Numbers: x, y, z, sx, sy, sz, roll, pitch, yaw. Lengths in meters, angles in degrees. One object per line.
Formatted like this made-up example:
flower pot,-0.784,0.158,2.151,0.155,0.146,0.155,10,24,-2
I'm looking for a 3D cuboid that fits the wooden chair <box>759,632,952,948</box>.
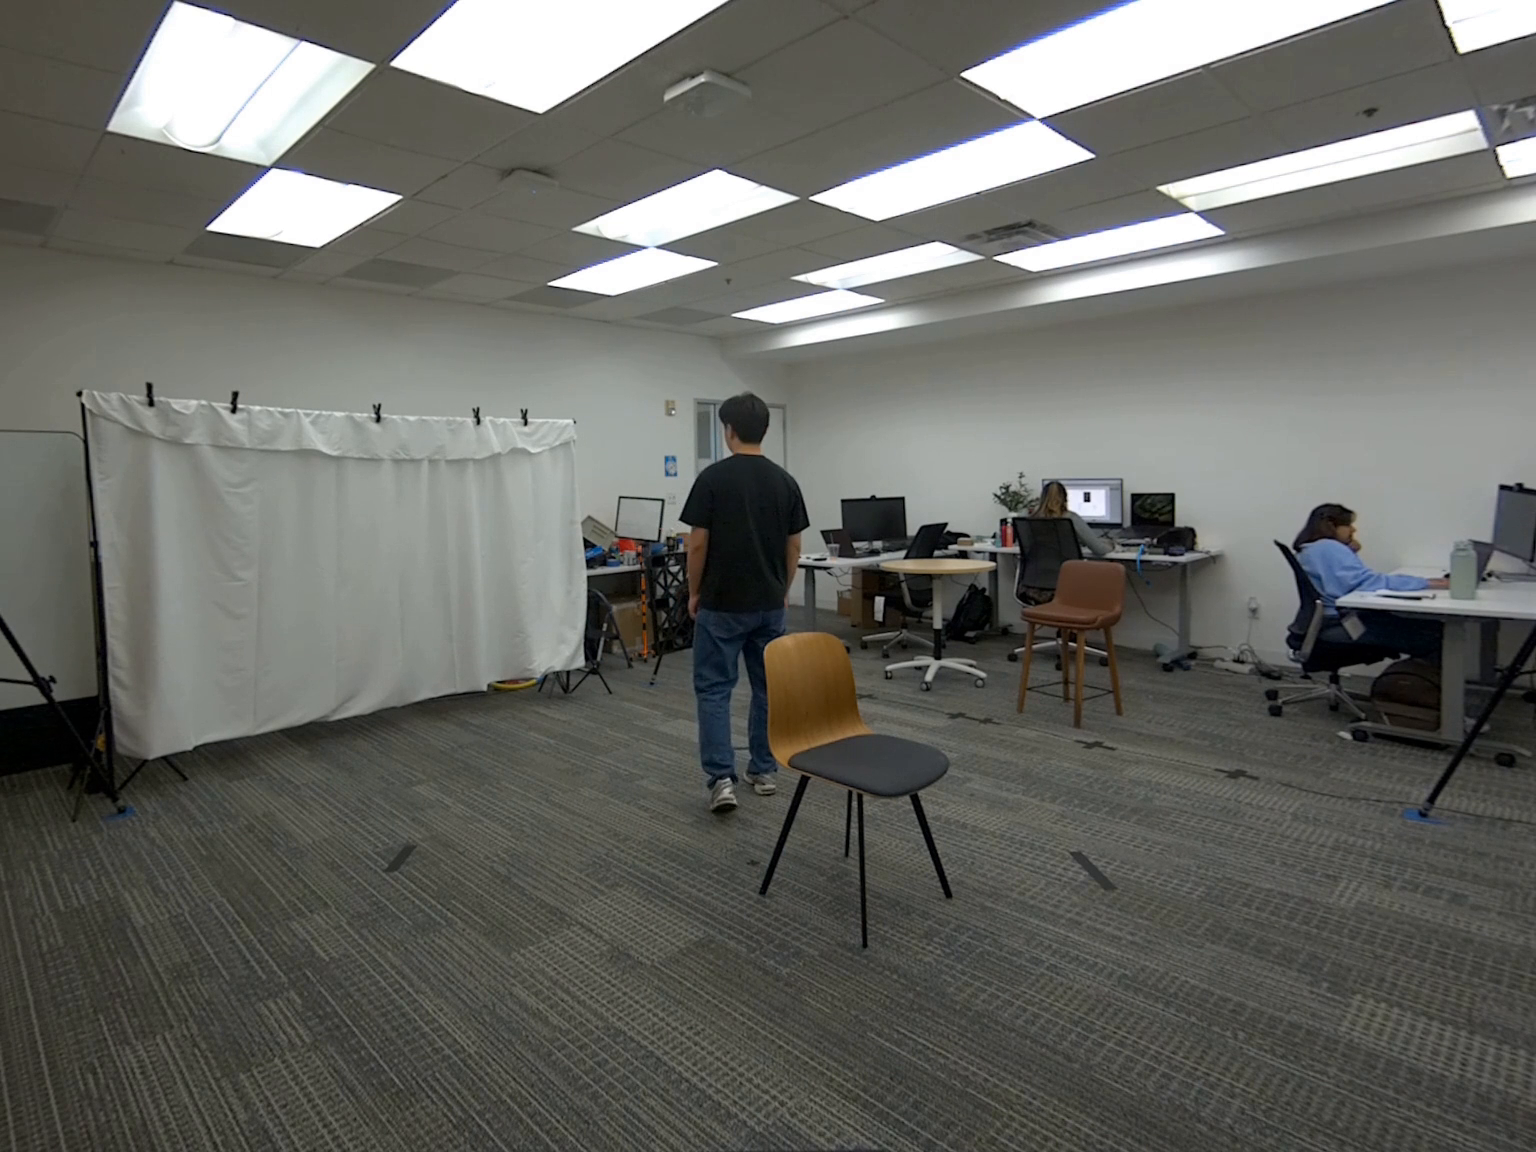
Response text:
wooden chair,0.294,0.643,2.802,0.465,0.877,0.538,-4,1,-43
